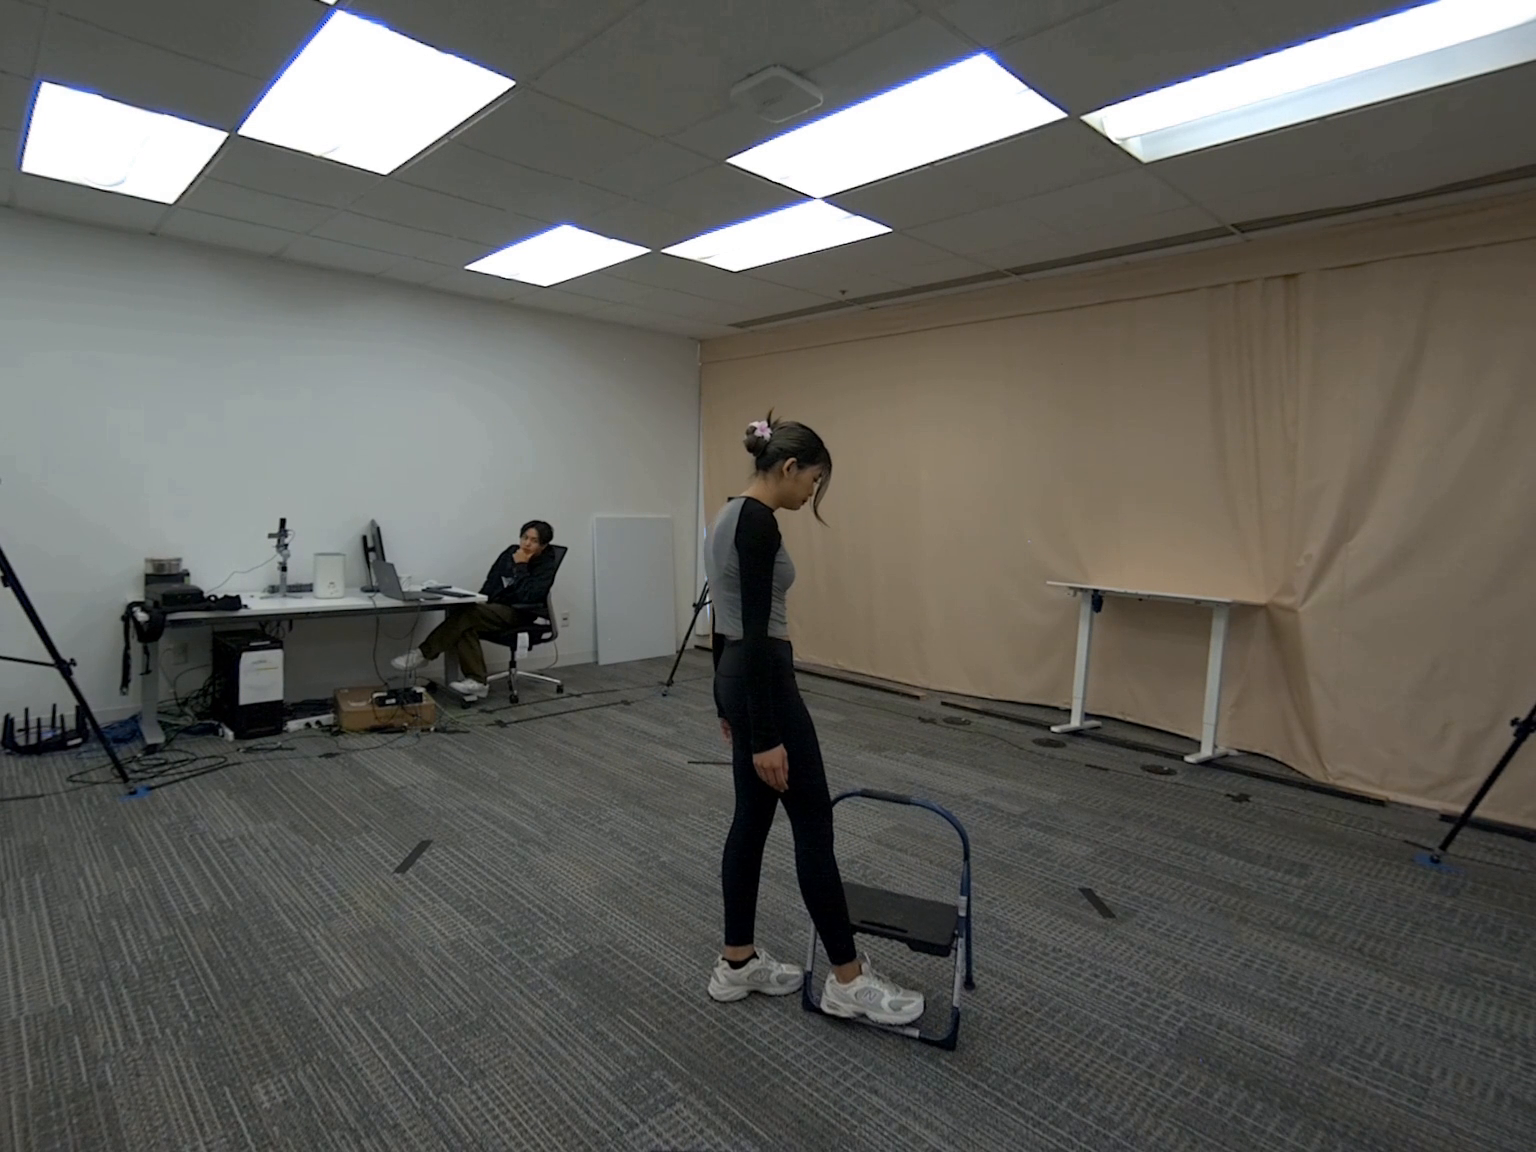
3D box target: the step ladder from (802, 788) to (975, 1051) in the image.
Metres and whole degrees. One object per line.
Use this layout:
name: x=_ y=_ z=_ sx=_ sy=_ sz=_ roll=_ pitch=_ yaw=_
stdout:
step ladder: x=0.351 y=0.894 z=2.354 sx=0.438 sy=0.605 sz=0.344 roll=4 pitch=4 yaw=22
